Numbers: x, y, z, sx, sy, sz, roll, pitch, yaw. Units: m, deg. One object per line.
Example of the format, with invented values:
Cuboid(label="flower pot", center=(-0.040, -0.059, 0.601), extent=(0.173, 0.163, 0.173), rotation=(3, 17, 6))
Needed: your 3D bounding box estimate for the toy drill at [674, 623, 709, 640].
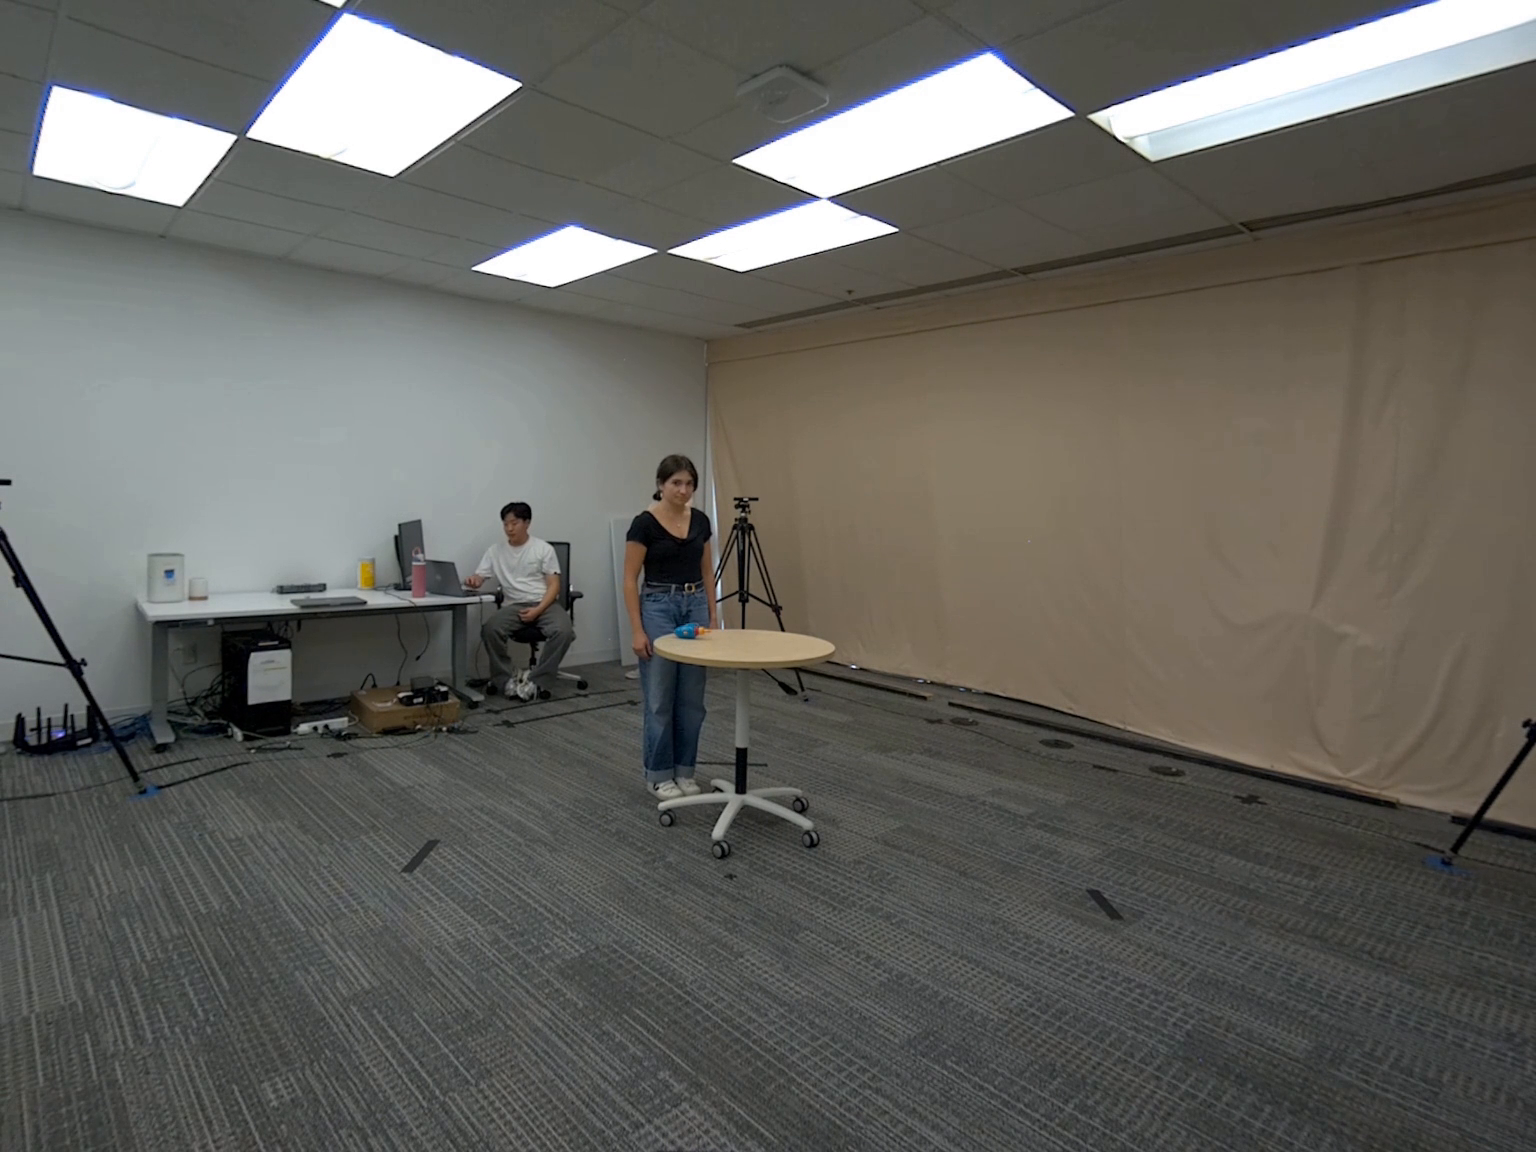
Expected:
Cuboid(label="toy drill", center=(-0.340, 0.241, 3.686), extent=(0.171, 0.061, 0.145), rotation=(-4, 3, 14))
